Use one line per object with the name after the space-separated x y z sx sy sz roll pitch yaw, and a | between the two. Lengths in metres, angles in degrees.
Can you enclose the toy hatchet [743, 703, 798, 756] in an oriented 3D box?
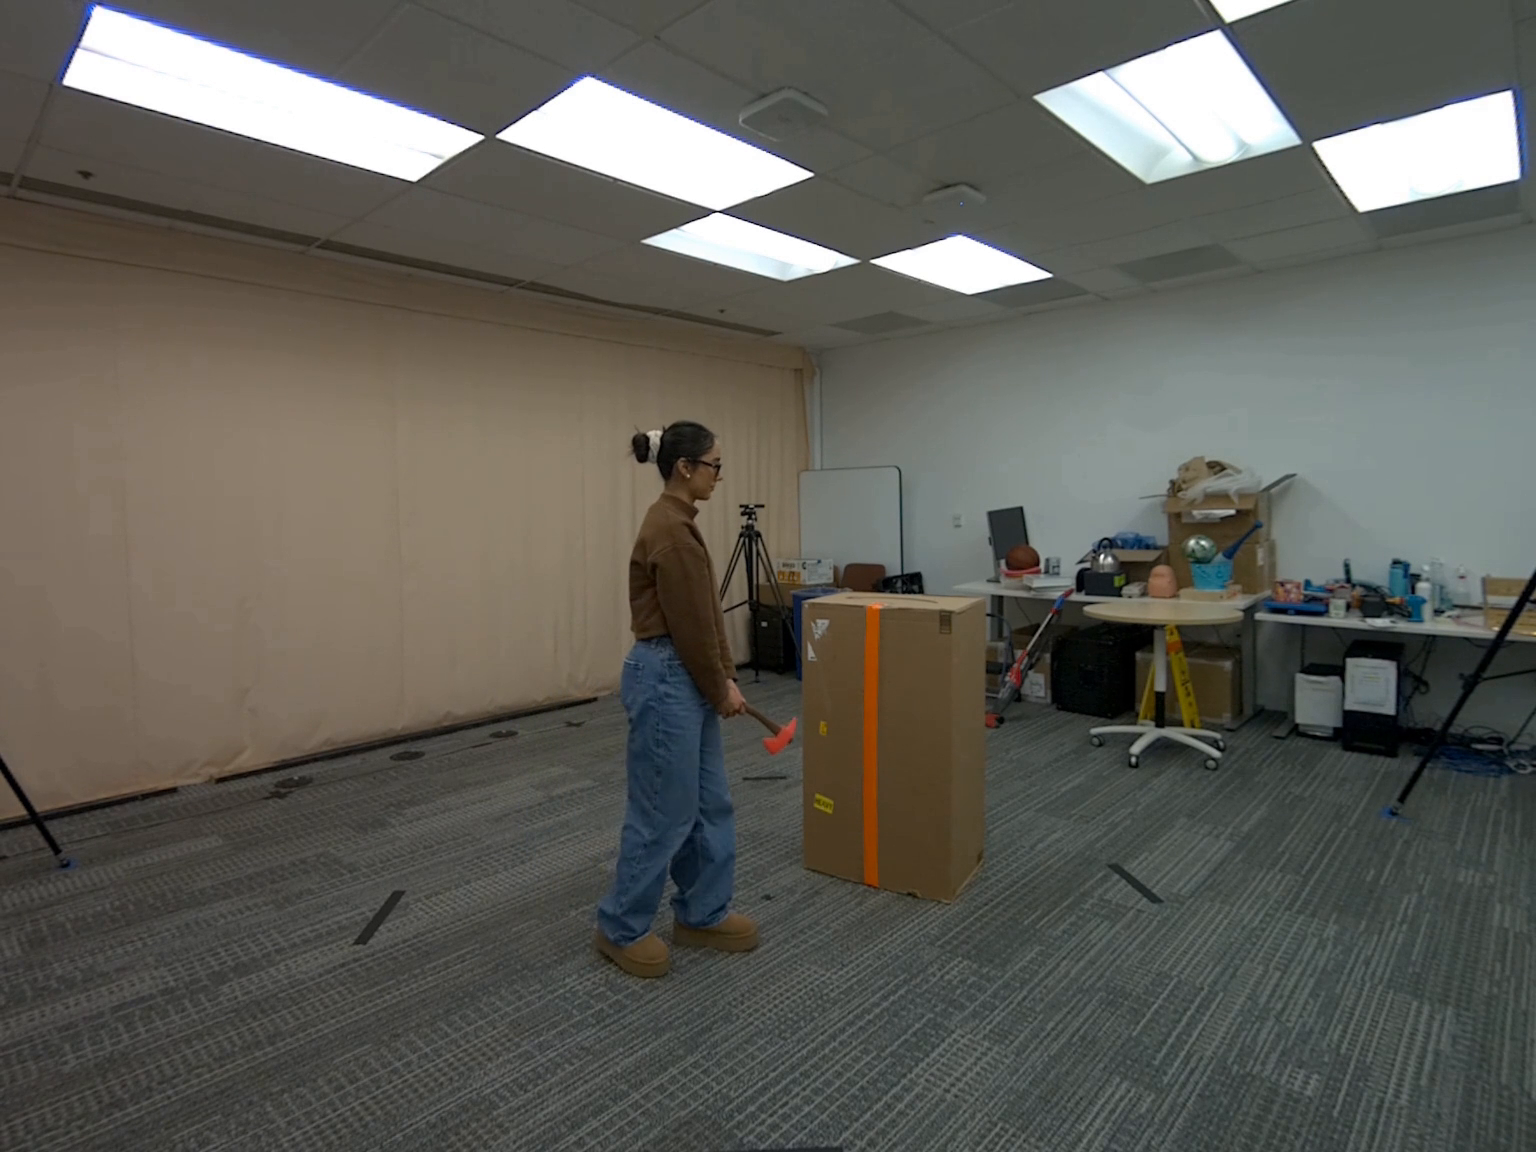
-0.047 0.478 2.627 0.268 0.131 0.030 15 -6 -6 | toy hatchet
